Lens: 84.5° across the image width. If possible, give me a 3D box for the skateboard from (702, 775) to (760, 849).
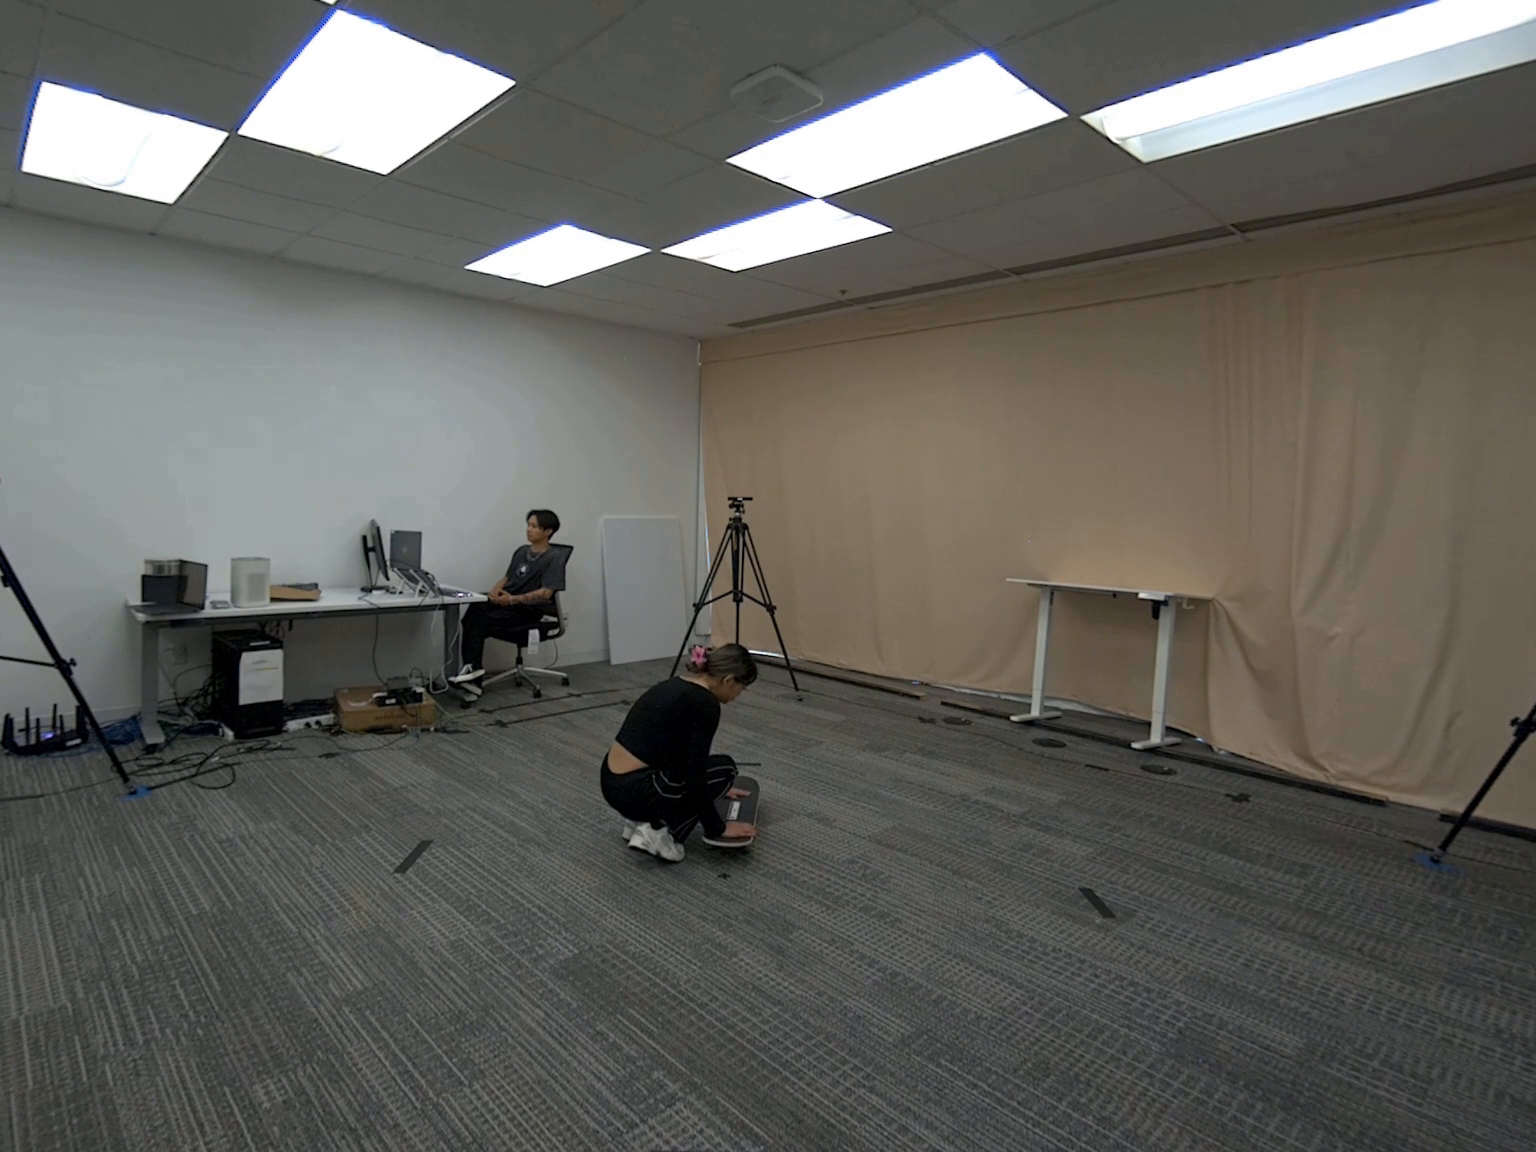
[{"bbox_3d":[-0.154,1.010,3.518,0.194,0.110,0.785,2,5,2],"label":"skateboard"}]
